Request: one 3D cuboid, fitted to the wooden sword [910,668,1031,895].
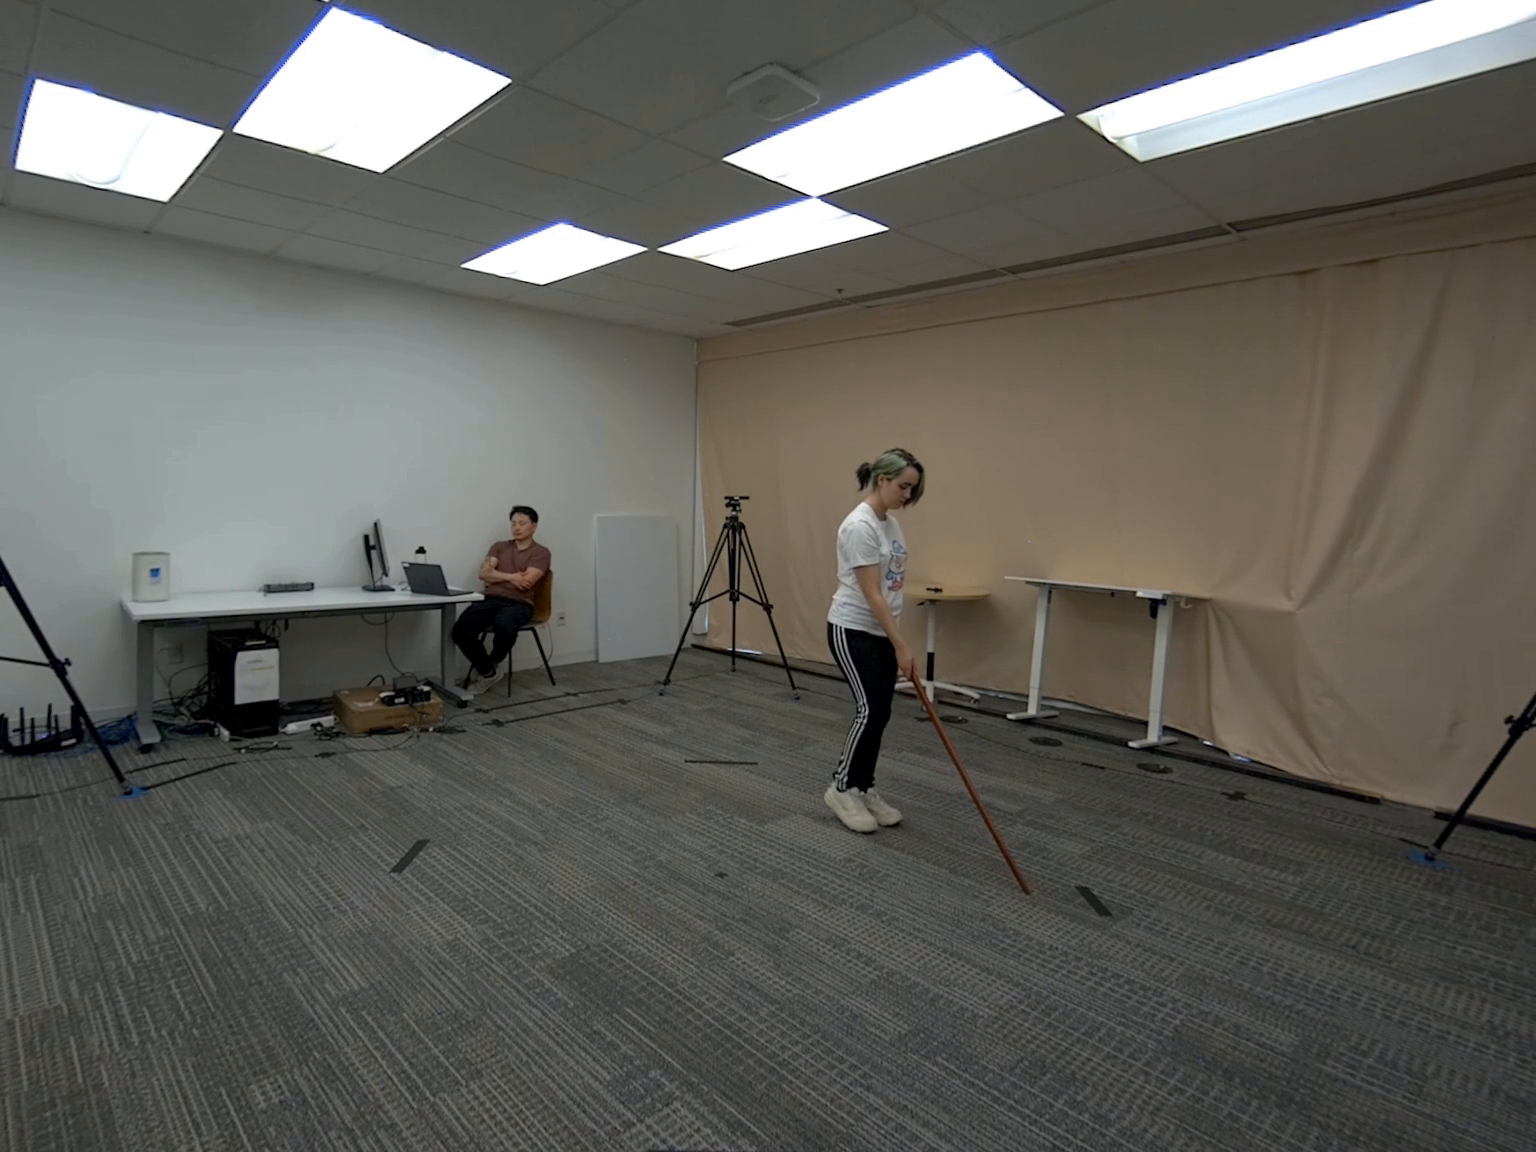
[{"bbox_3d":[0.751,0.739,3.280,0.023,1.052,0.051,-4,-36,-28],"label":"wooden sword"}]
